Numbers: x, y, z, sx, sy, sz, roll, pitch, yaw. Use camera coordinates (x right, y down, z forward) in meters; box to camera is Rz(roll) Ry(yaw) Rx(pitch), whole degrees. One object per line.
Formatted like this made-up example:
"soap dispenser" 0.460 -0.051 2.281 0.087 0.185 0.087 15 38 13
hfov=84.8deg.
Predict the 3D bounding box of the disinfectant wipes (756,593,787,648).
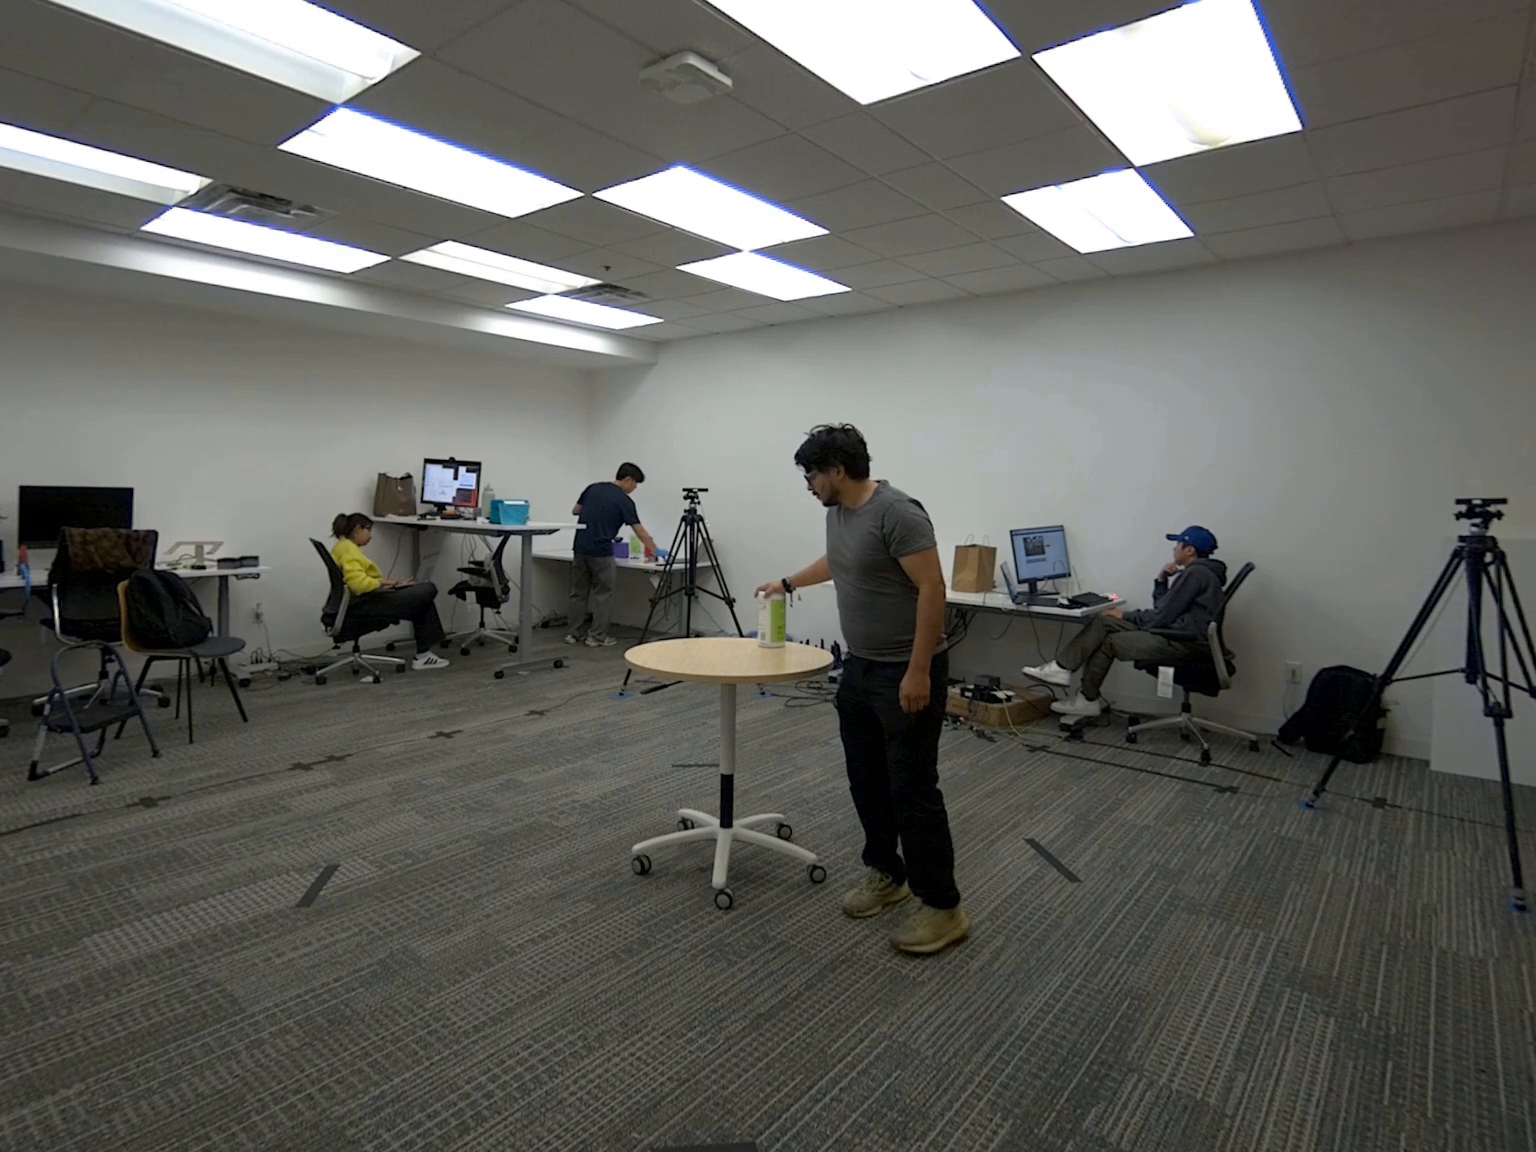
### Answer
"disinfectant wipes" 0.009 0.164 3.325 0.118 0.217 0.118 0 2 -2
